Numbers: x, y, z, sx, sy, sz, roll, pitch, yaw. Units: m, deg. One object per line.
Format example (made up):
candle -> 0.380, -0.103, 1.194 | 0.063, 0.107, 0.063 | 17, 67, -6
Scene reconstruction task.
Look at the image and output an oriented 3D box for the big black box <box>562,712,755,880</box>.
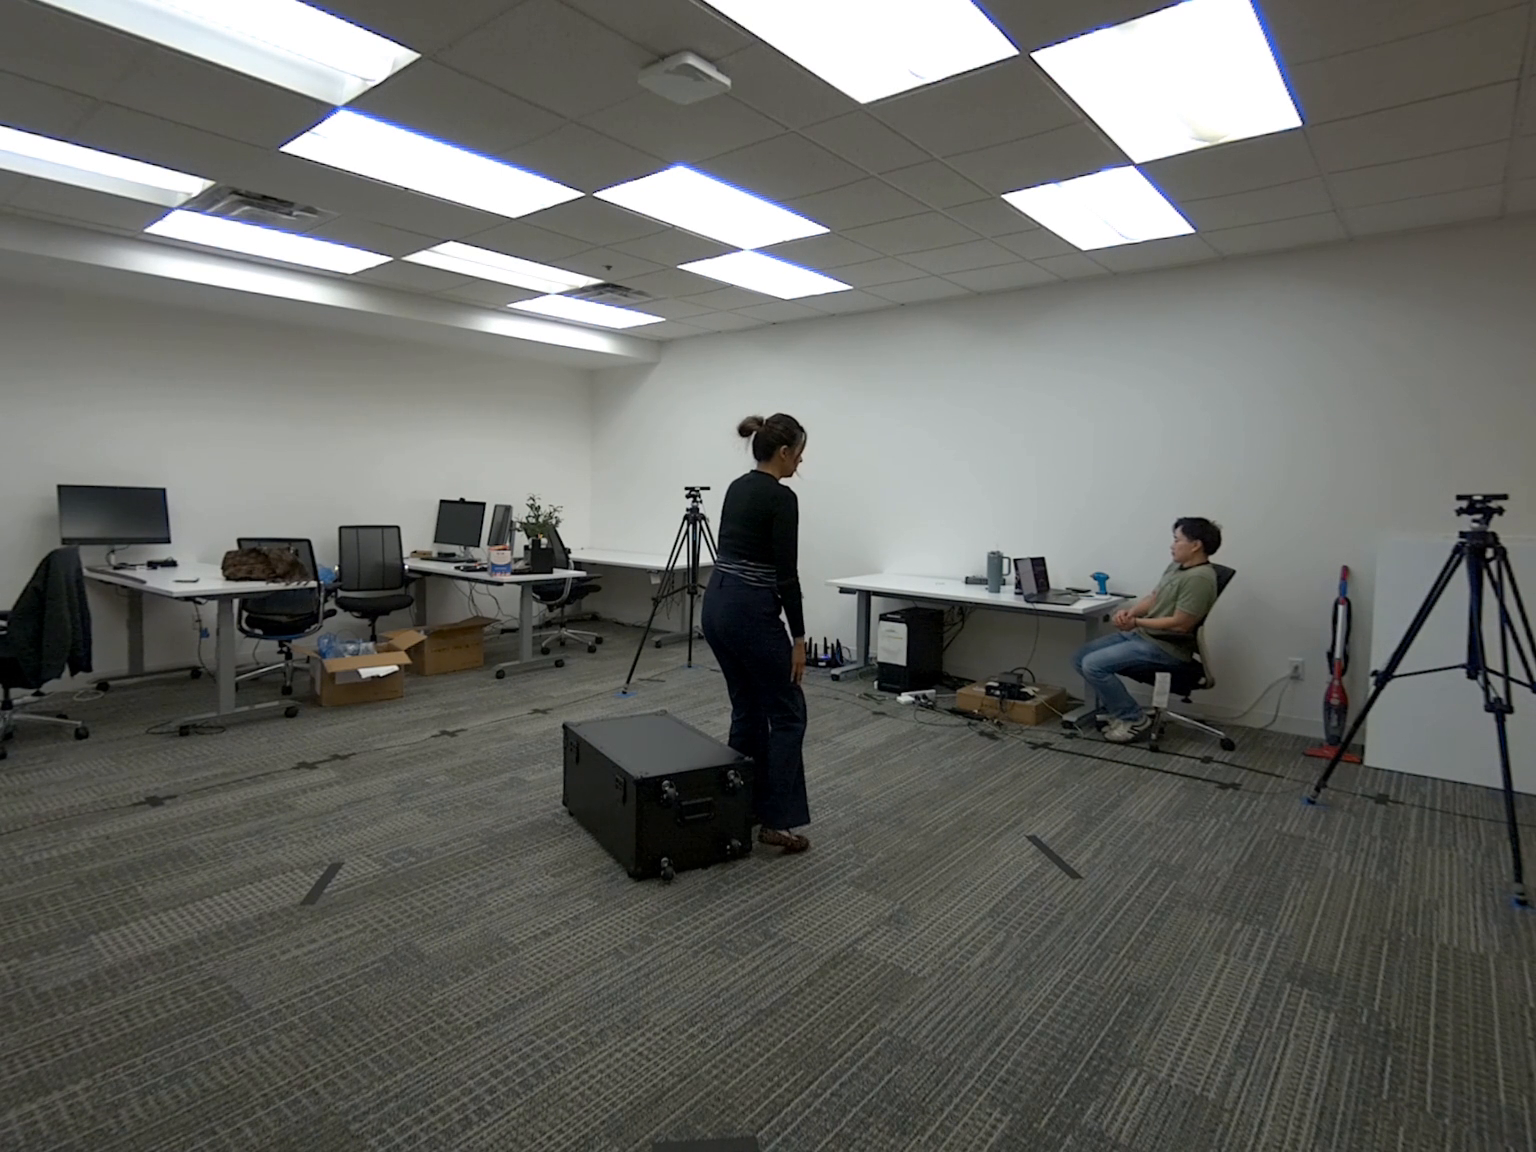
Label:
big black box -> -0.495, 0.837, 3.439 | 0.507, 0.395, 0.889 | -2, 6, -32
